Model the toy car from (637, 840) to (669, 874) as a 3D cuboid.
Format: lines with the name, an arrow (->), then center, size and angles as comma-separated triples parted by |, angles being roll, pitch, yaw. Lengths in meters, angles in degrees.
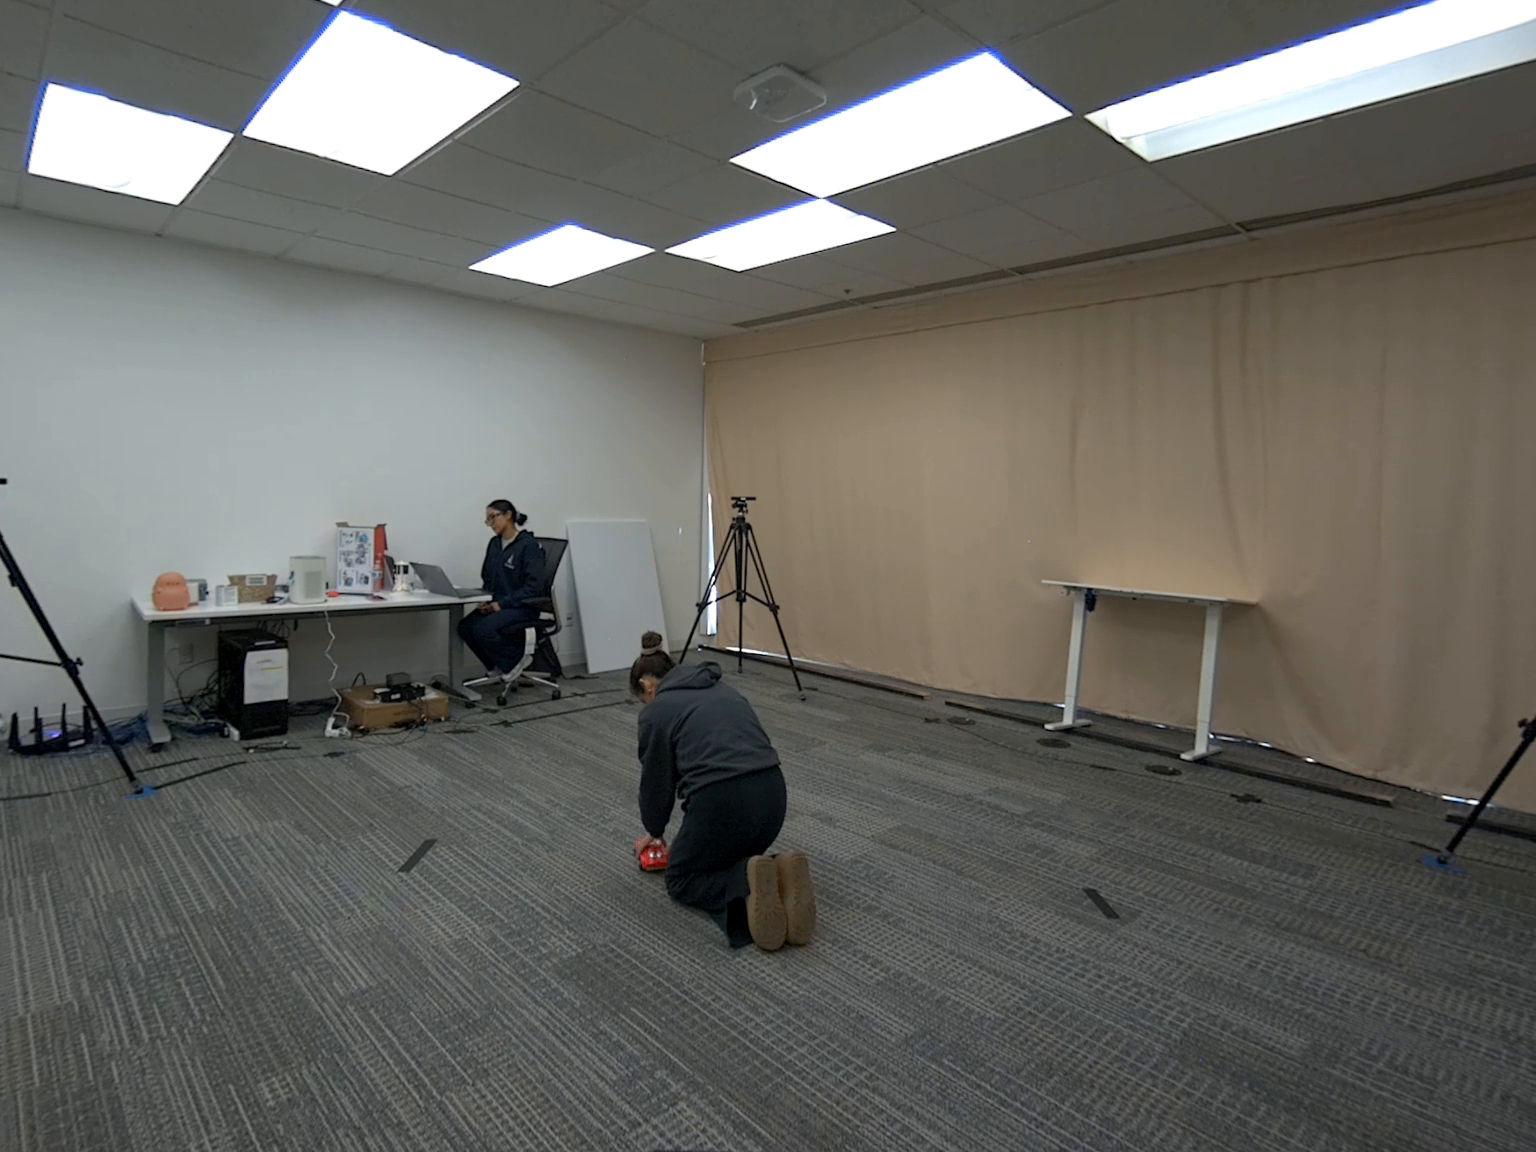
toy car -> -0.440, 1.058, 3.207 | 0.129, 0.083, 0.256 | 0, -5, -15
